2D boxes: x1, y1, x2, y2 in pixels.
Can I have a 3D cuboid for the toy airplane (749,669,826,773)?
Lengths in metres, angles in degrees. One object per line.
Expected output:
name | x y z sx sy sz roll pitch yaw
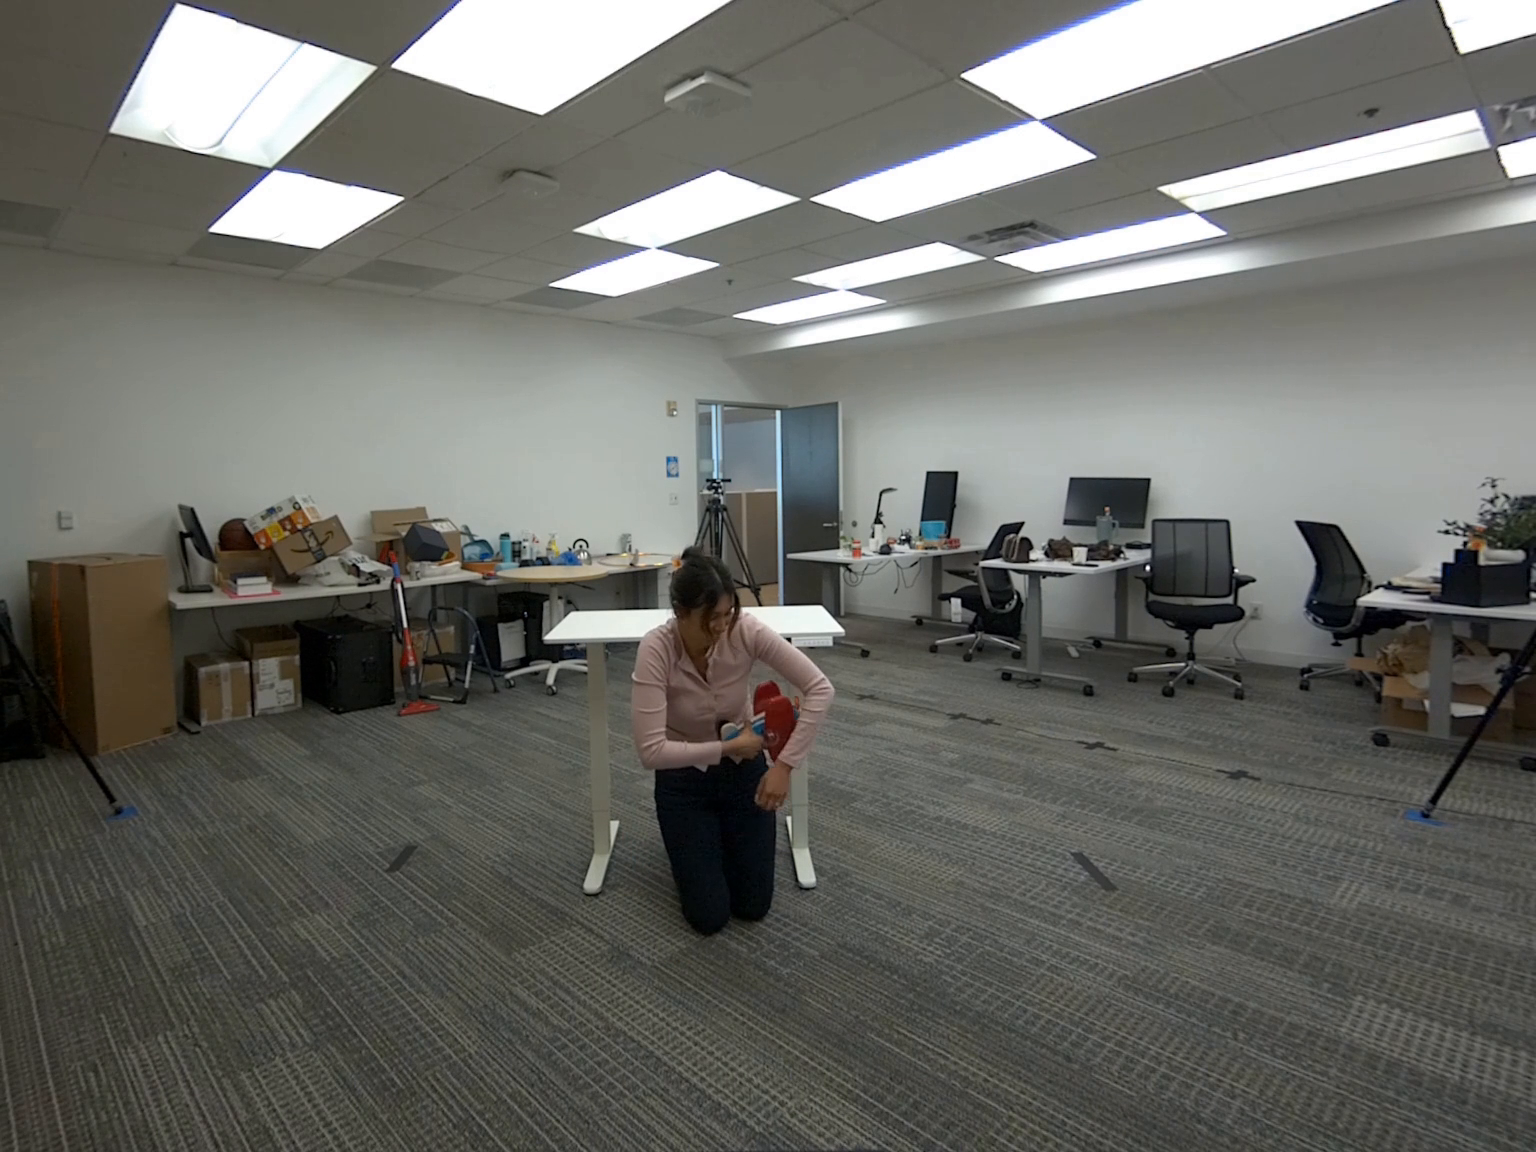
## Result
toy airplane | -0.012 0.474 2.572 0.162 0.259 0.241 32 -13 44
